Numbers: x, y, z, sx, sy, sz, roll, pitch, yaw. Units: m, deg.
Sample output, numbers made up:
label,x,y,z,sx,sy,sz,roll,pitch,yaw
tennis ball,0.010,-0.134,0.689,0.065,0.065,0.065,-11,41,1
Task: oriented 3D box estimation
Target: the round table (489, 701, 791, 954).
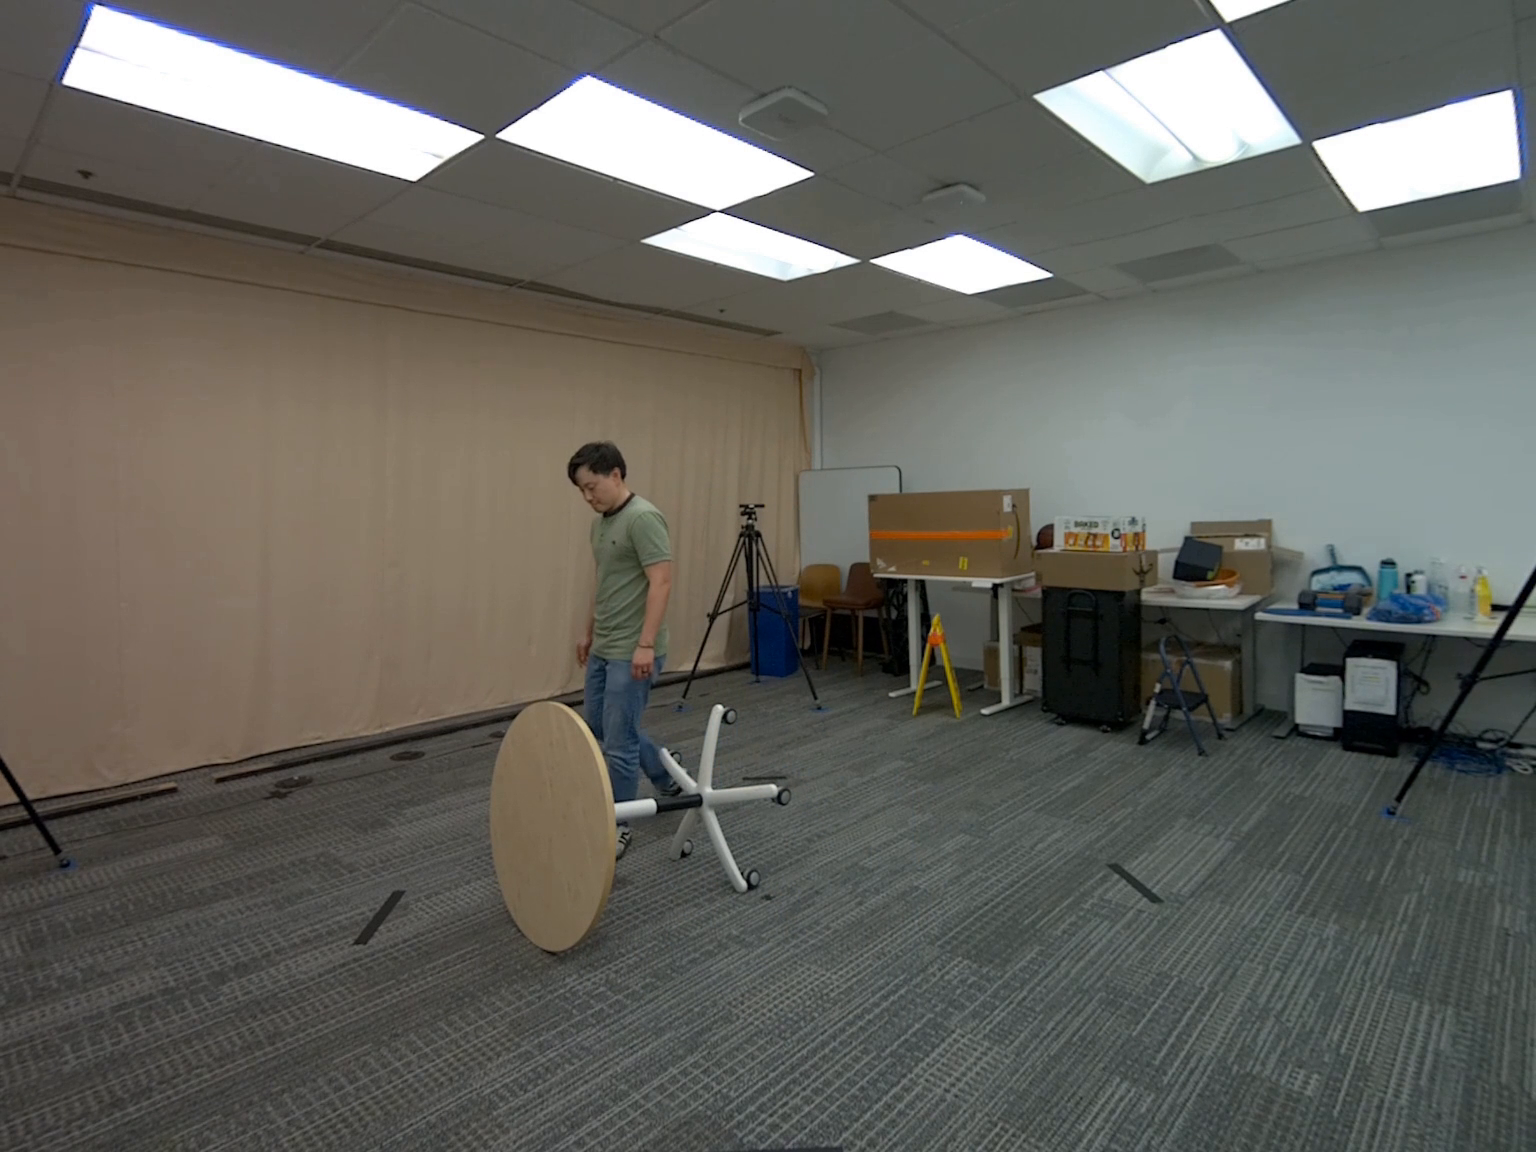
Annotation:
label,x,y,z,sx,sy,sz,roll,pitch,yaw
round table,-0.432,0.820,2.968,0.767,0.764,0.789,5,-1,-43
